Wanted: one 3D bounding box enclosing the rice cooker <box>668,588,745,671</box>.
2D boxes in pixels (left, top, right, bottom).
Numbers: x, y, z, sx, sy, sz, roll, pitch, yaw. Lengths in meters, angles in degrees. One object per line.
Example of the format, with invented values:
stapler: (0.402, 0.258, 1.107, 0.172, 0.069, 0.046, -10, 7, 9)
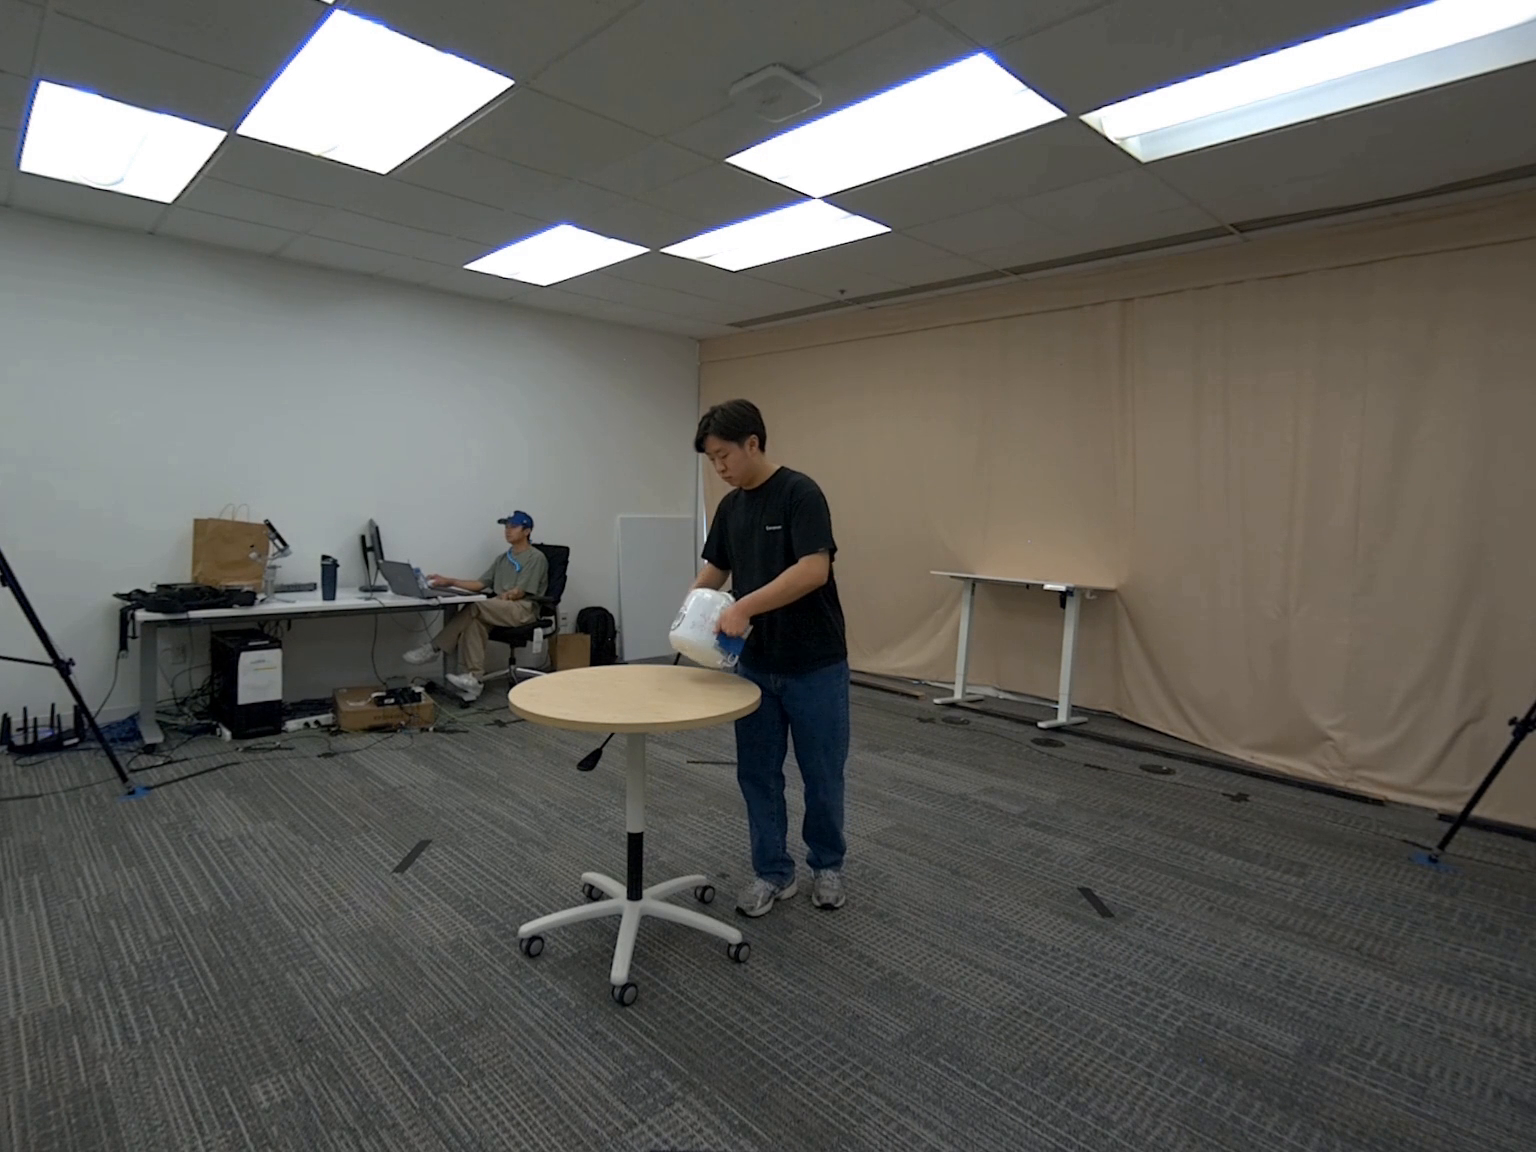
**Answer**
rice cooker: (-0.192, 0.161, 2.728, 0.213, 0.234, 0.224, 34, -20, -22)
